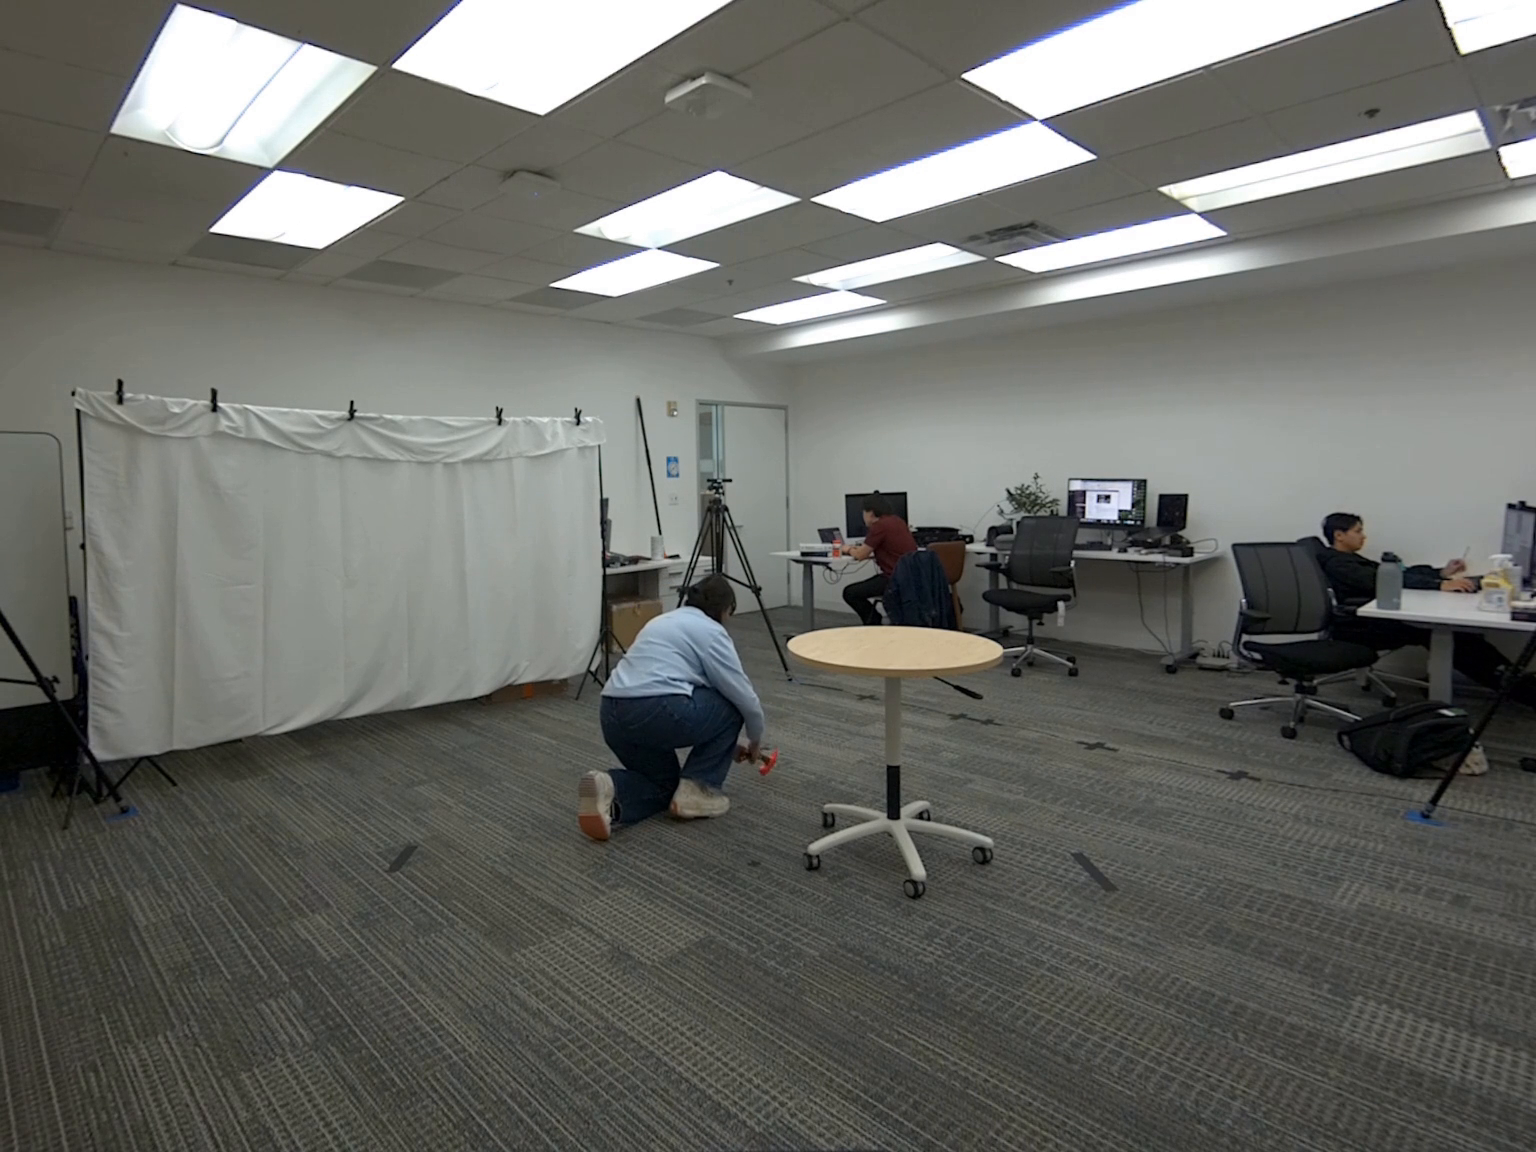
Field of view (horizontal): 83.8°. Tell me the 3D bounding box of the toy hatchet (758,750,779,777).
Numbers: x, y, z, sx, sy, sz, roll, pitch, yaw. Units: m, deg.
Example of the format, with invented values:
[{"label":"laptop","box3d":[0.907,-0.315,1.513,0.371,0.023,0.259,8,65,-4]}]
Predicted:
[{"label":"toy hatchet","box3d":[-0.050,0.848,3.915,0.031,0.130,0.261,20,7,40]}]
